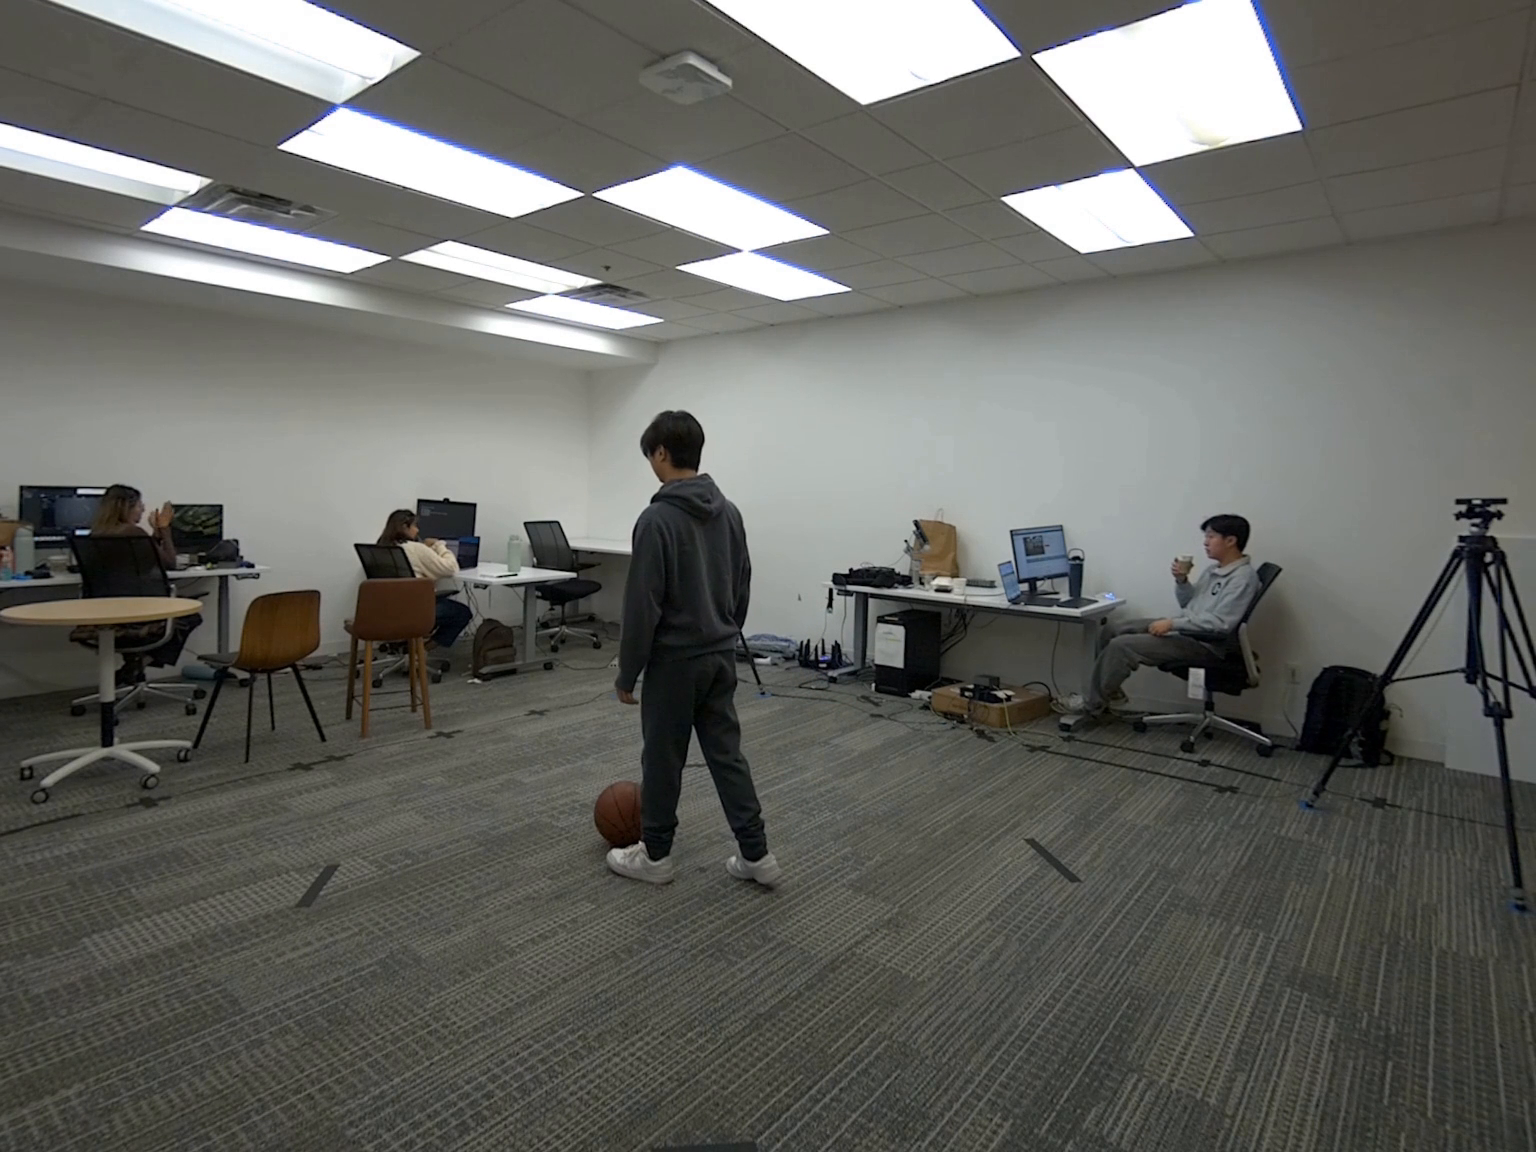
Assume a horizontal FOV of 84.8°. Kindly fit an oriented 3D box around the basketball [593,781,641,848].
[{"bbox_3d":[-0.573,0.921,3.324,0.235,0.235,0.237,1,4,-2],"label":"basketball"}]
